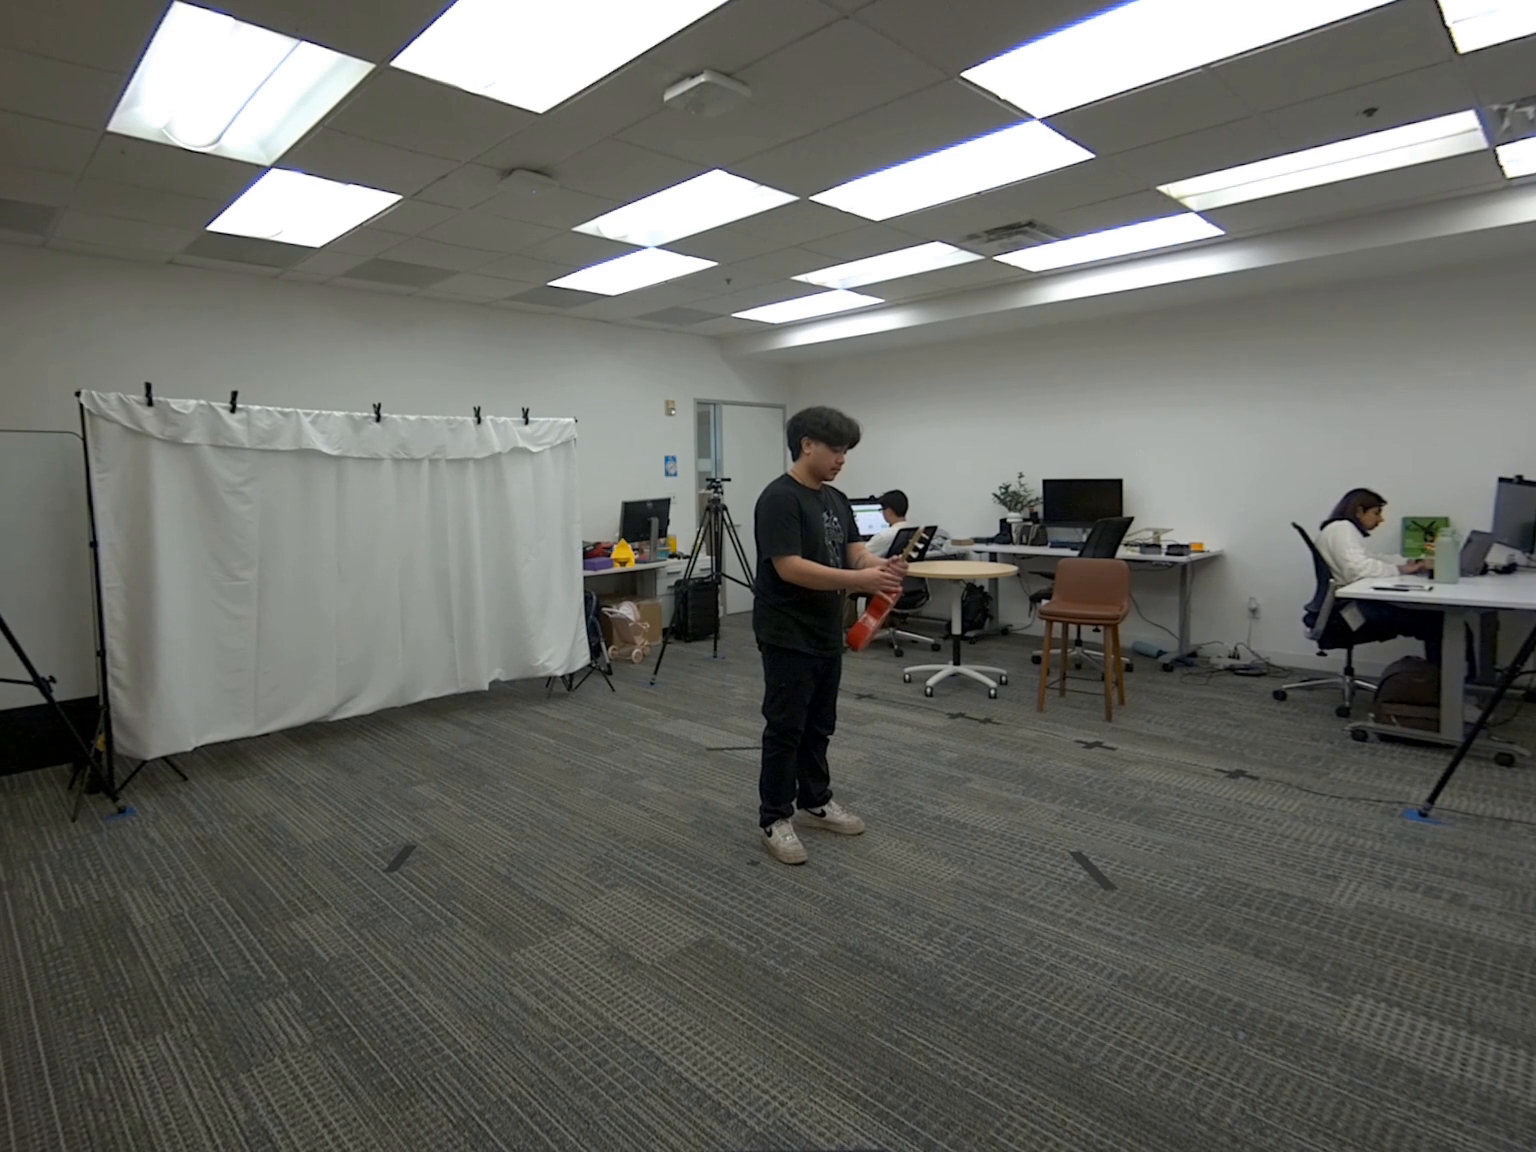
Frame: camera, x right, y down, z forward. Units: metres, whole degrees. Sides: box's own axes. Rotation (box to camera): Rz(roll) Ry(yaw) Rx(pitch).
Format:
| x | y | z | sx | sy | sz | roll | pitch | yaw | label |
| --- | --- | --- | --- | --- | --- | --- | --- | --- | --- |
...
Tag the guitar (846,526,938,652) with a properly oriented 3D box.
| x | y | z | sx | sy | sz | roll | pitch | yaw | label |
| --- | --- | --- | --- | --- | --- | --- | --- | --- | --- |
| 0.422 | 0.053 | 3.017 | 0.072 | 0.494 | 0.190 | 34 | 22 | 17 | guitar |
